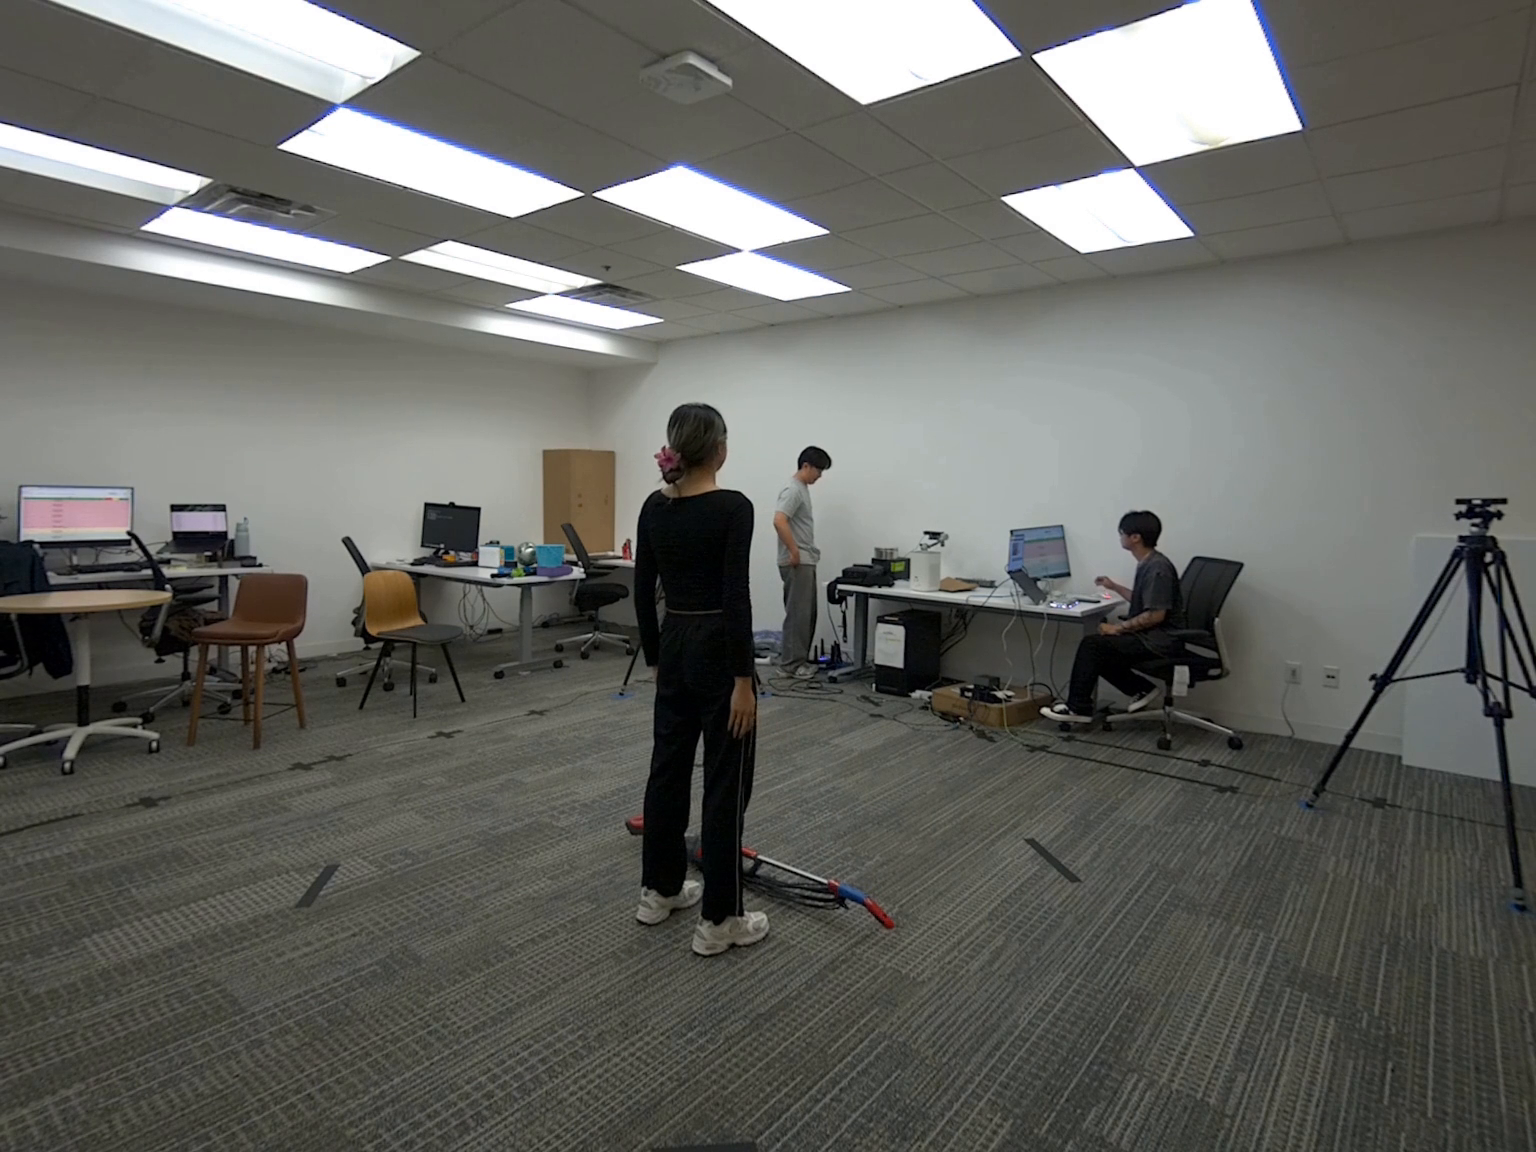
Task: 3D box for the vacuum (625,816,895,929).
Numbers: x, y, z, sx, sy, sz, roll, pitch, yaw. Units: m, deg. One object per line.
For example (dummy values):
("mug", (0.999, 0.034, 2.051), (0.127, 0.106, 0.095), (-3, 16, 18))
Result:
("vacuum", (-0.041, 1.025, 2.970), (1.086, 0.143, 0.246), (7, 13, 39))
